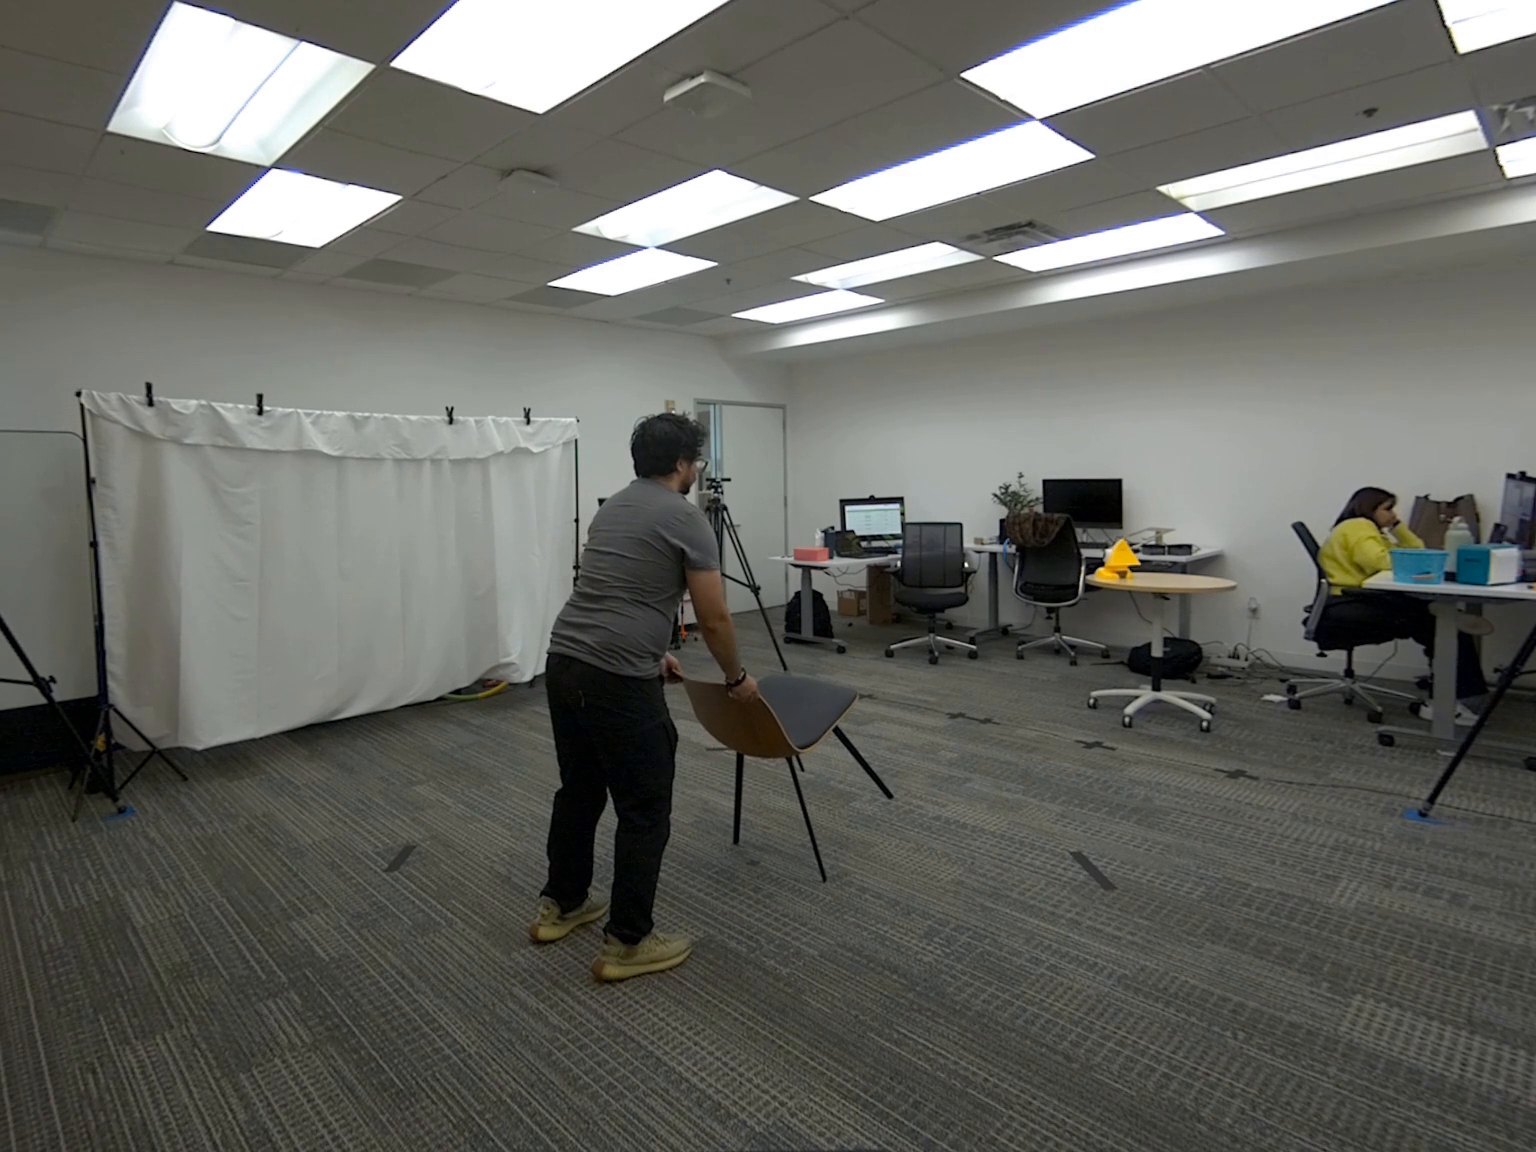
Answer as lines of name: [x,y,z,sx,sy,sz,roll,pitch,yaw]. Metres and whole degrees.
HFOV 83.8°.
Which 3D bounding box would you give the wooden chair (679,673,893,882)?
wooden chair: [0.053,0.555,3.104,0.493,0.854,0.521,3,35,45]
